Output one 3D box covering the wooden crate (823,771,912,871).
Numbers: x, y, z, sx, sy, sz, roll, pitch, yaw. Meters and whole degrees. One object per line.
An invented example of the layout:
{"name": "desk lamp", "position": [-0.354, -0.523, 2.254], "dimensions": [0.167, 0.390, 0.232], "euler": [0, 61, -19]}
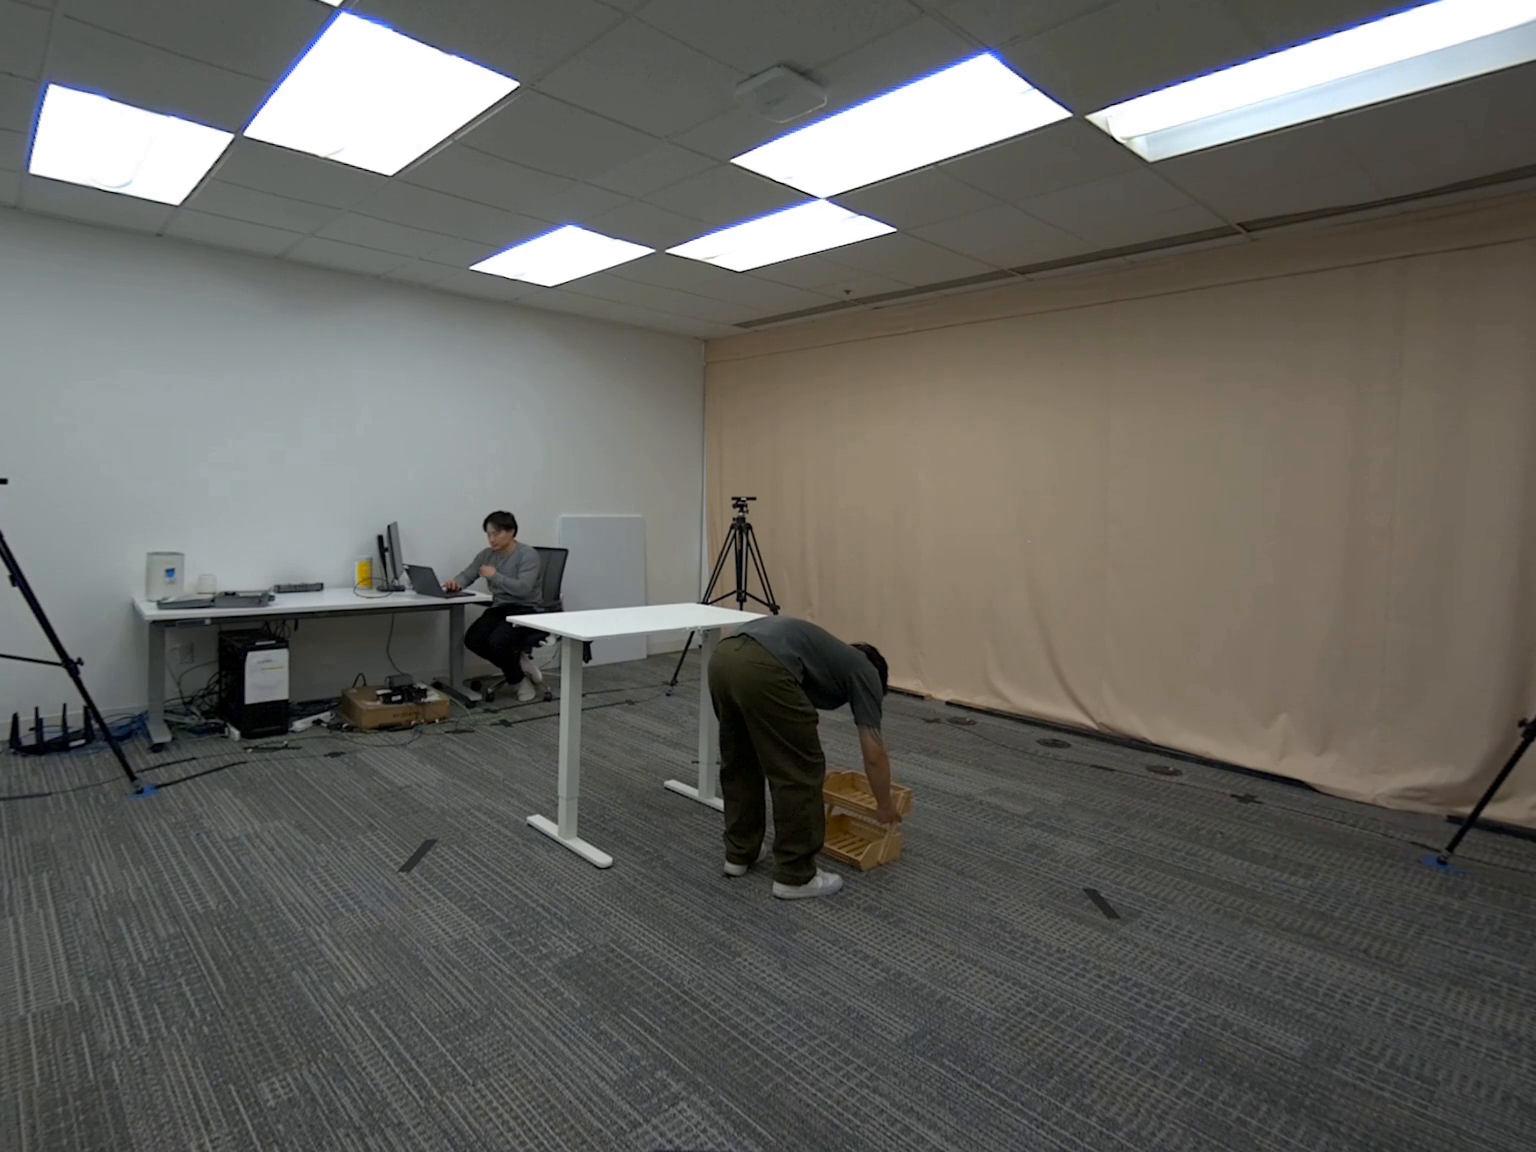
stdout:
{"name": "wooden crate", "position": [0.346, 0.960, 3.358], "dimensions": [0.295, 0.273, 0.333], "euler": [1, 3, -44]}
